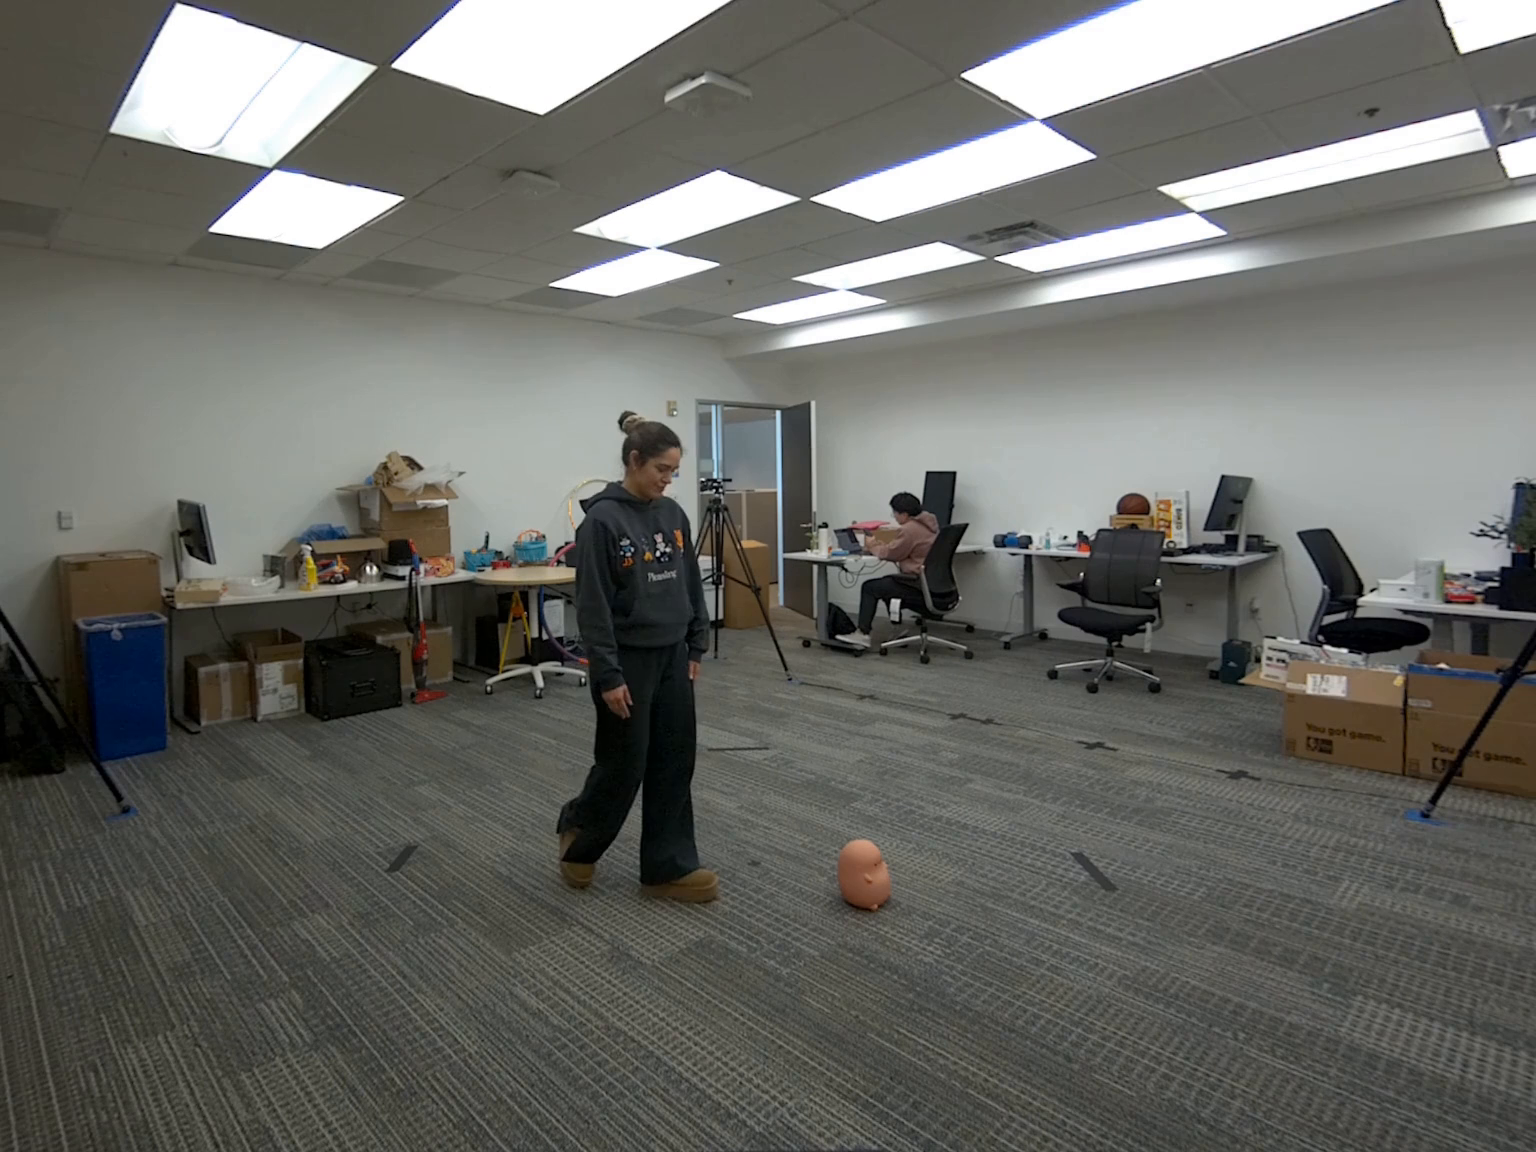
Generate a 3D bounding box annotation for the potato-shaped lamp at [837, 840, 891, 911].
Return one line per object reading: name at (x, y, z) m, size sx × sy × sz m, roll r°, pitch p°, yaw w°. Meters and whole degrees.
potato-shaped lamp at (0.311, 0.968, 2.795) m, size 0.176 × 0.197 × 0.160 m, roll 1°, pitch 4°, yaw 40°
